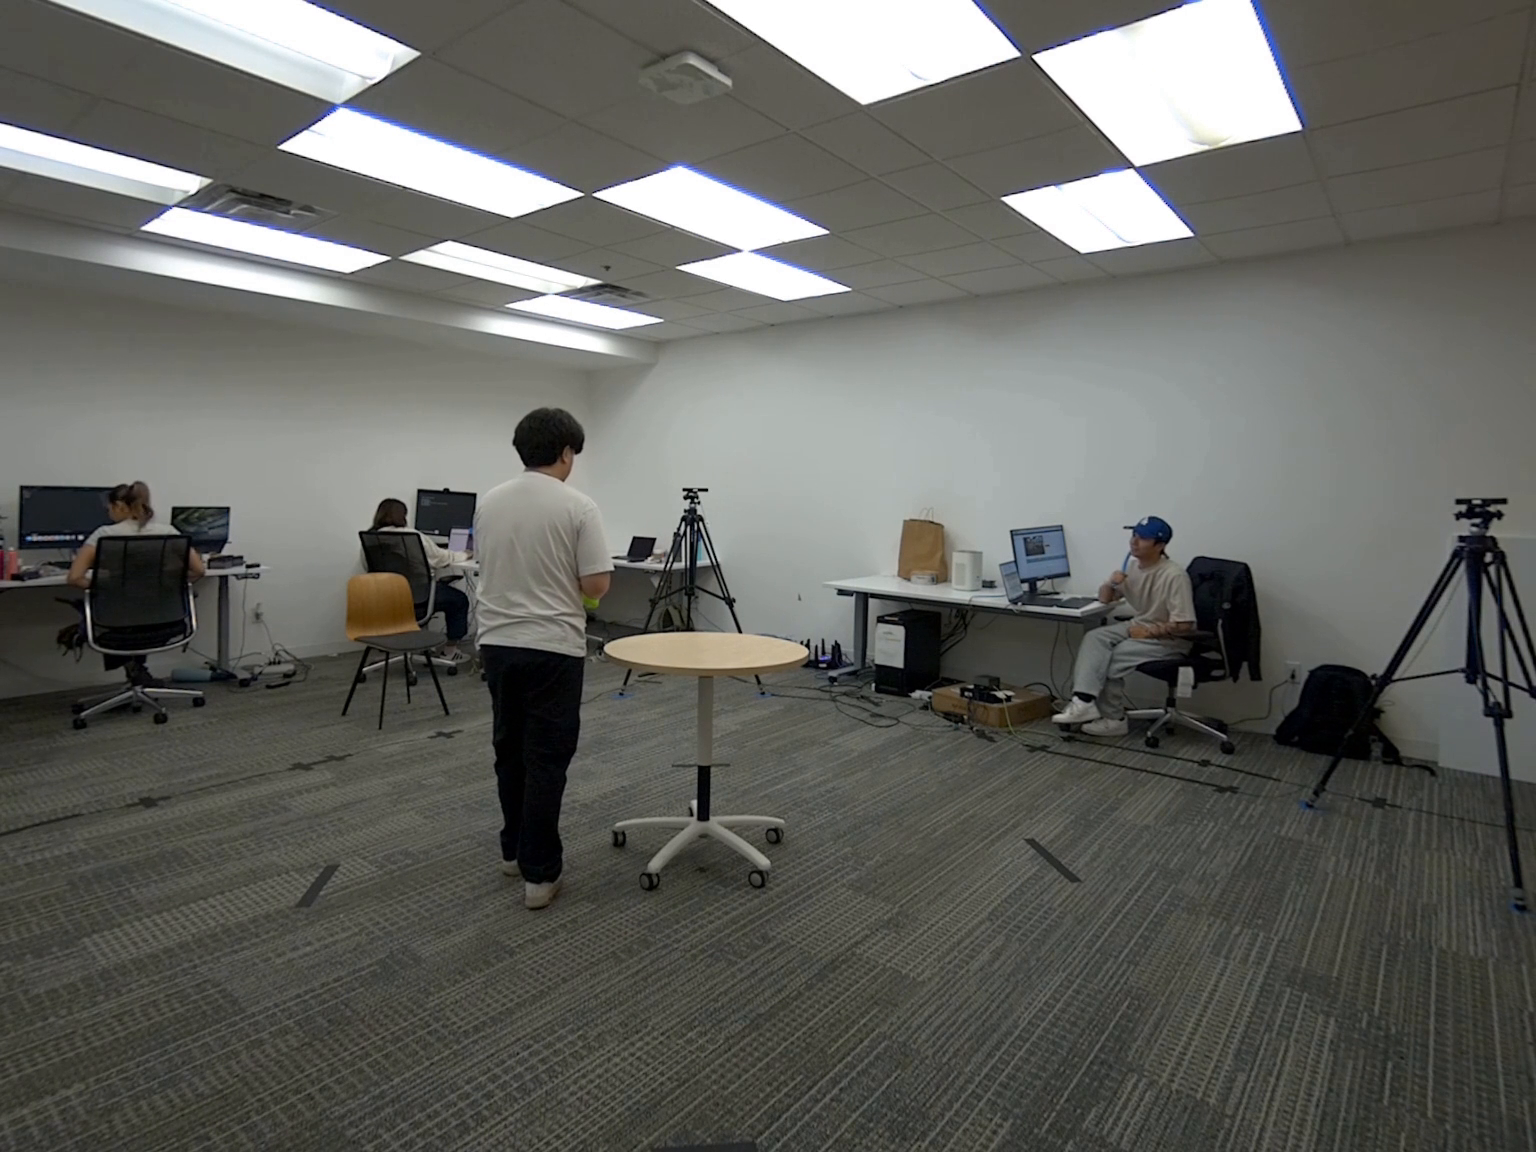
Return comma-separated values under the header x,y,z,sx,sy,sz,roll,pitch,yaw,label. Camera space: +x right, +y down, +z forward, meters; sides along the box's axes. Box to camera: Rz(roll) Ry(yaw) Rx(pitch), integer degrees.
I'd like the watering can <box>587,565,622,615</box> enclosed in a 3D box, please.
x,y,z,sx,sy,sz,roll,pitch,yaw,label
-0.684,0.034,3.342,0.099,0.179,0.272,6,-13,8,watering can
